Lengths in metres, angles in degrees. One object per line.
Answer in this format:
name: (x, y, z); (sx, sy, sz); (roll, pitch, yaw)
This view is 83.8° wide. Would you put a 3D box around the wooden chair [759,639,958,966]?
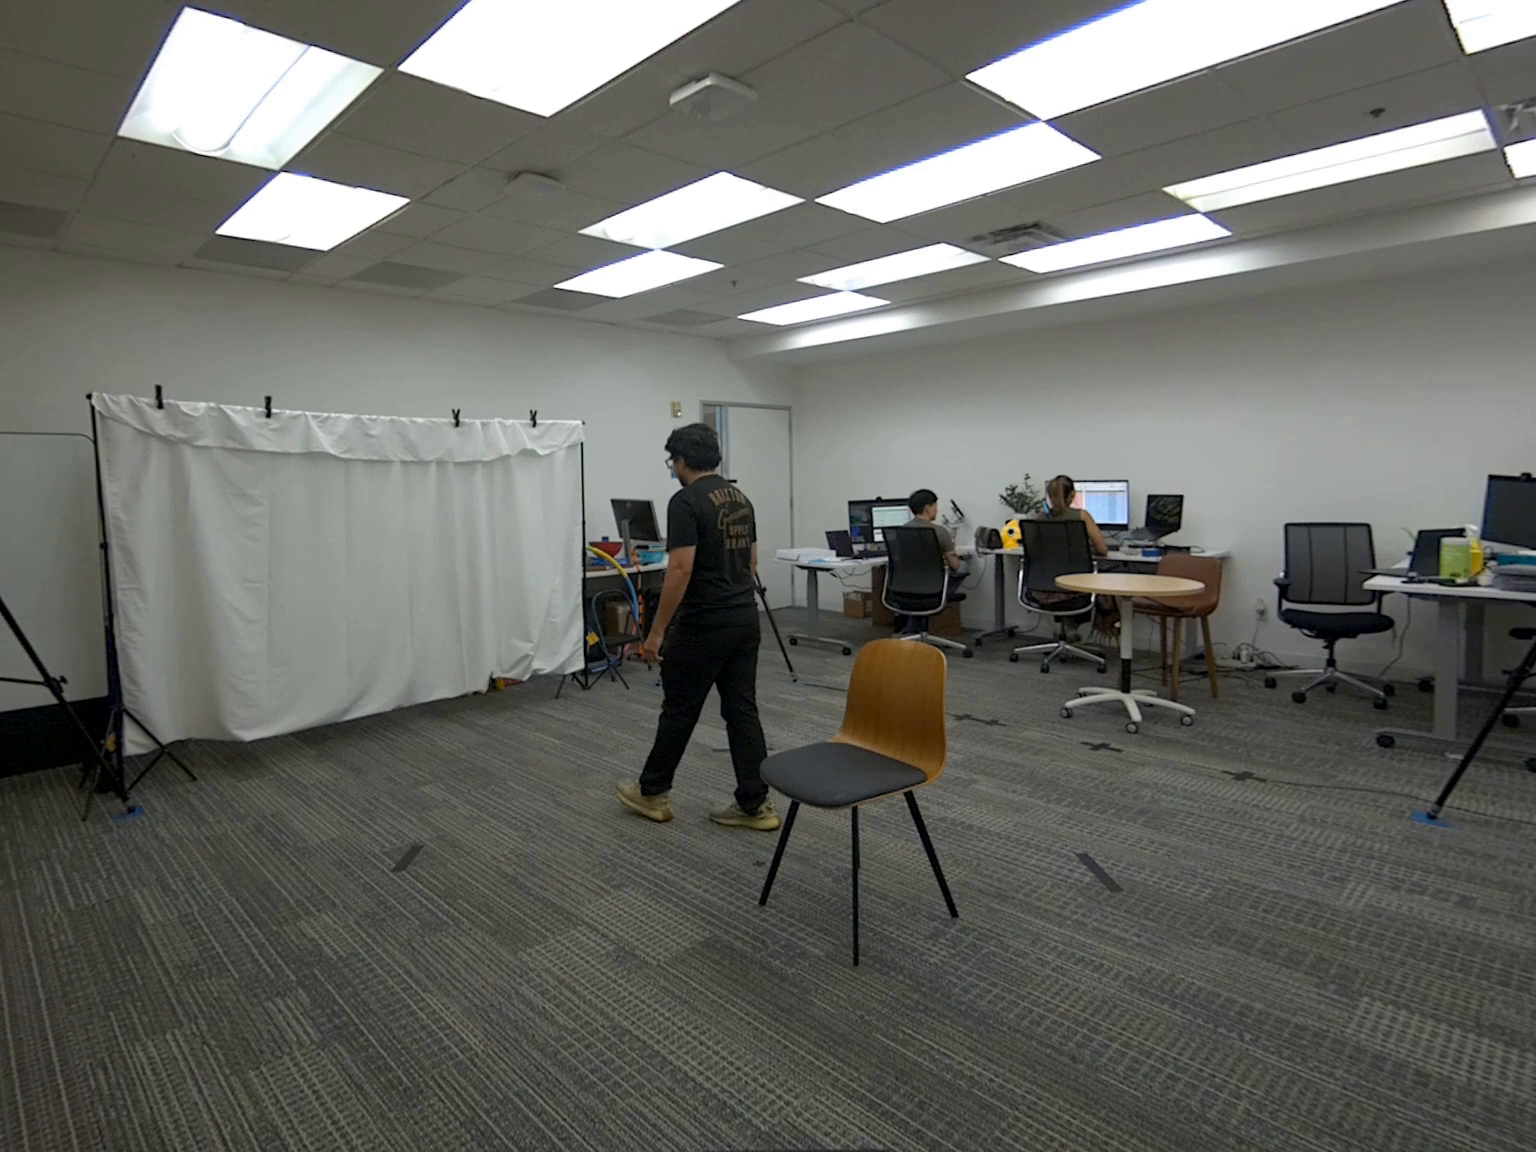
wooden chair: (0.278, 0.659, 2.718); (0.508, 0.876, 0.492); (1, 2, -38)
